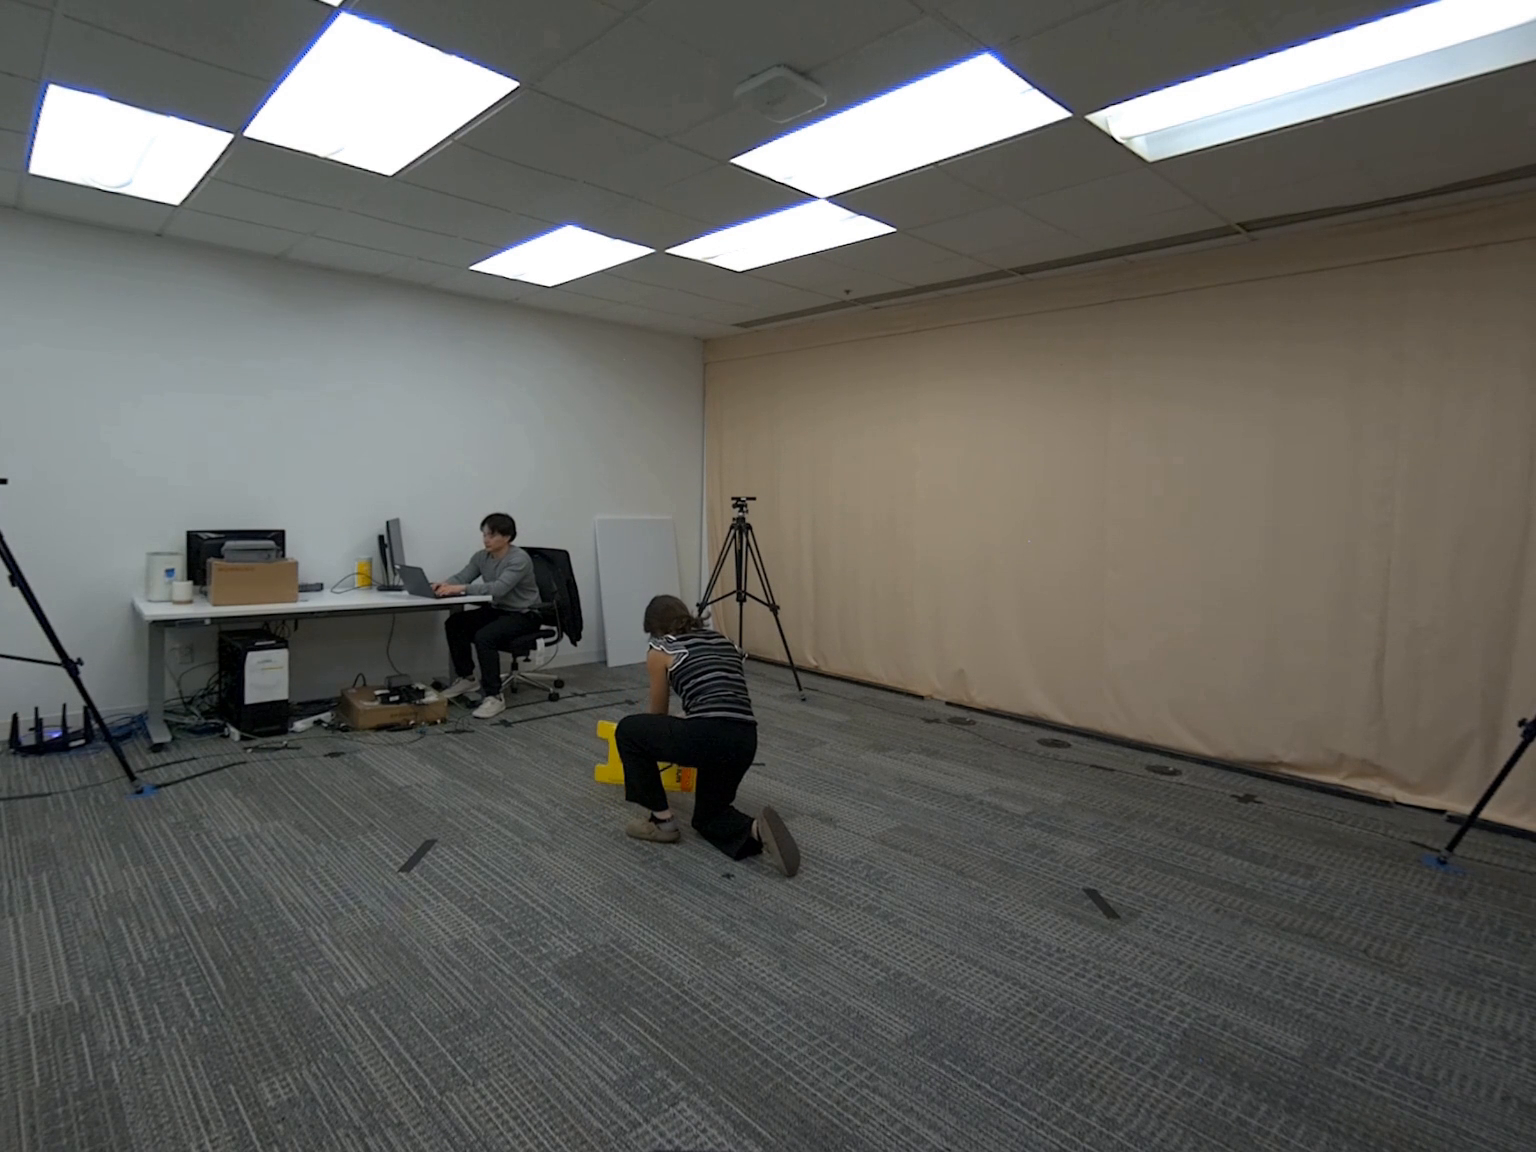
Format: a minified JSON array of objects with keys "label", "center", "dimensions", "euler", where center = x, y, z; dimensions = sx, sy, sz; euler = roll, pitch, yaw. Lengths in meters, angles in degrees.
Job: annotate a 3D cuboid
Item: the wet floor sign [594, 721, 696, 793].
[{"label":"wet floor sign","center":[-0.487,0.846,3.846],"dimensions":[0.661,0.284,0.281],"euler":[-1,-10,41]}]
